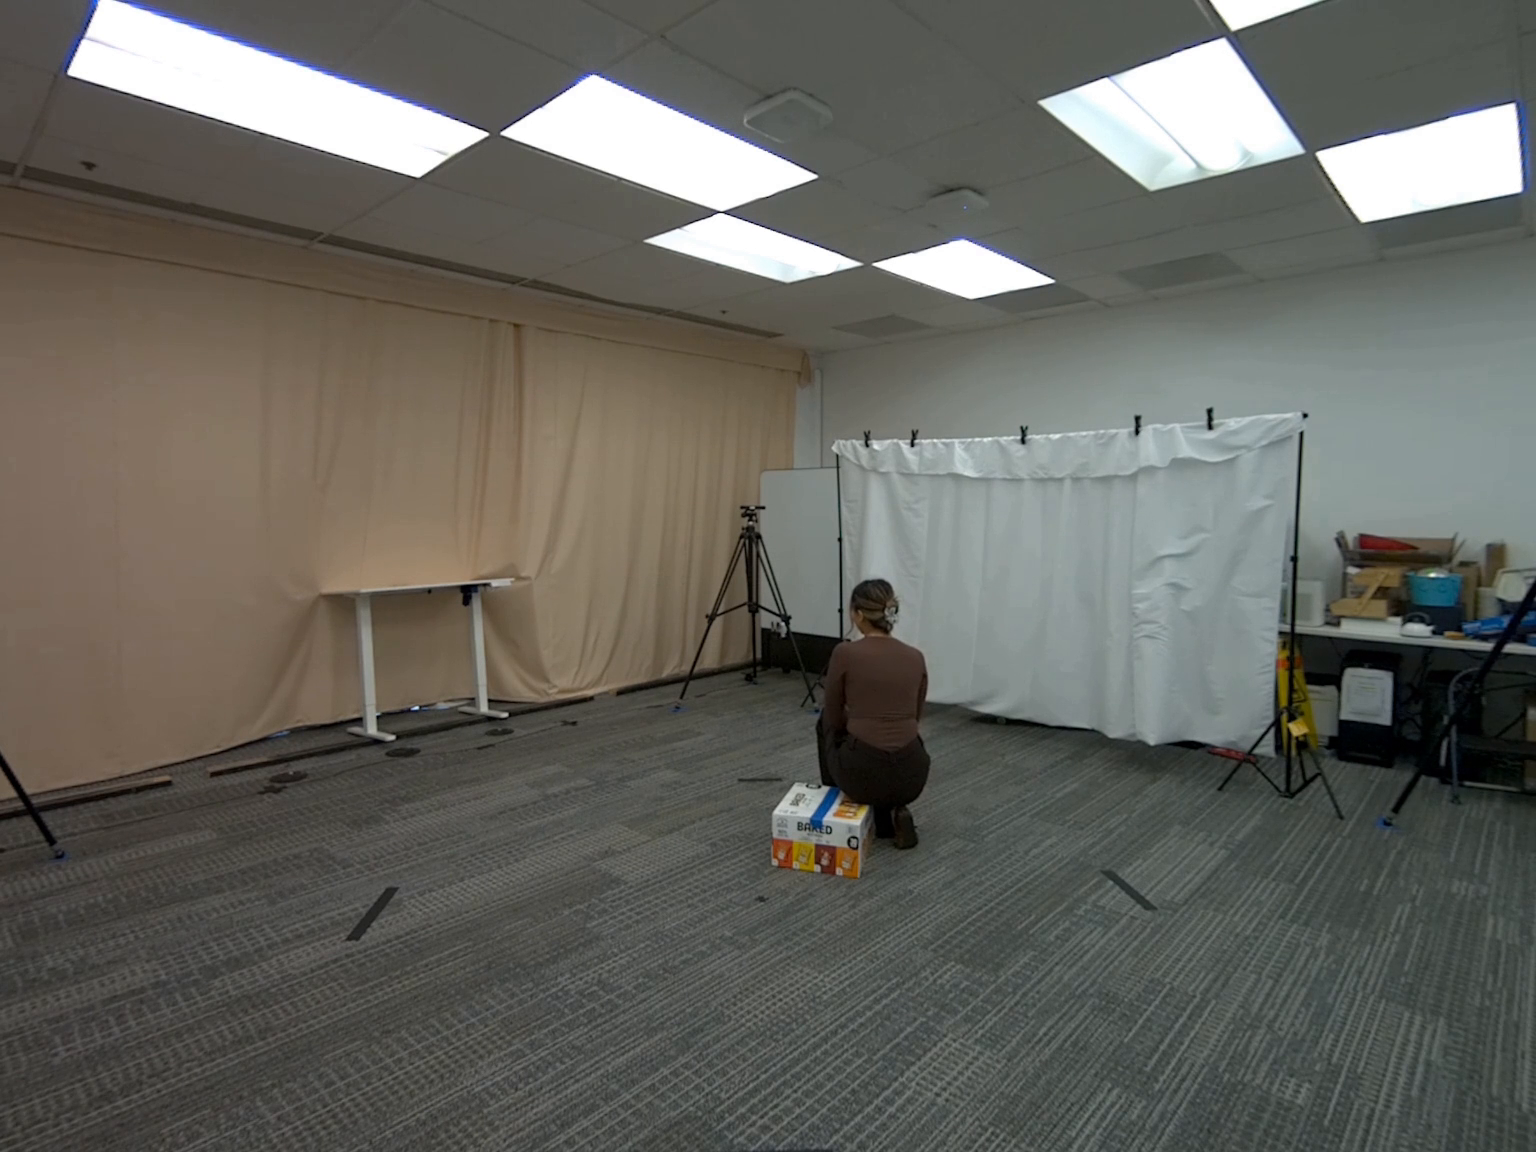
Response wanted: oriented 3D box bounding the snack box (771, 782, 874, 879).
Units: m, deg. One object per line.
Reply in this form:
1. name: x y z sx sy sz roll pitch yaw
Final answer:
1. snack box: 0.232 1.010 3.384 0.347 0.205 0.398 2 4 17
